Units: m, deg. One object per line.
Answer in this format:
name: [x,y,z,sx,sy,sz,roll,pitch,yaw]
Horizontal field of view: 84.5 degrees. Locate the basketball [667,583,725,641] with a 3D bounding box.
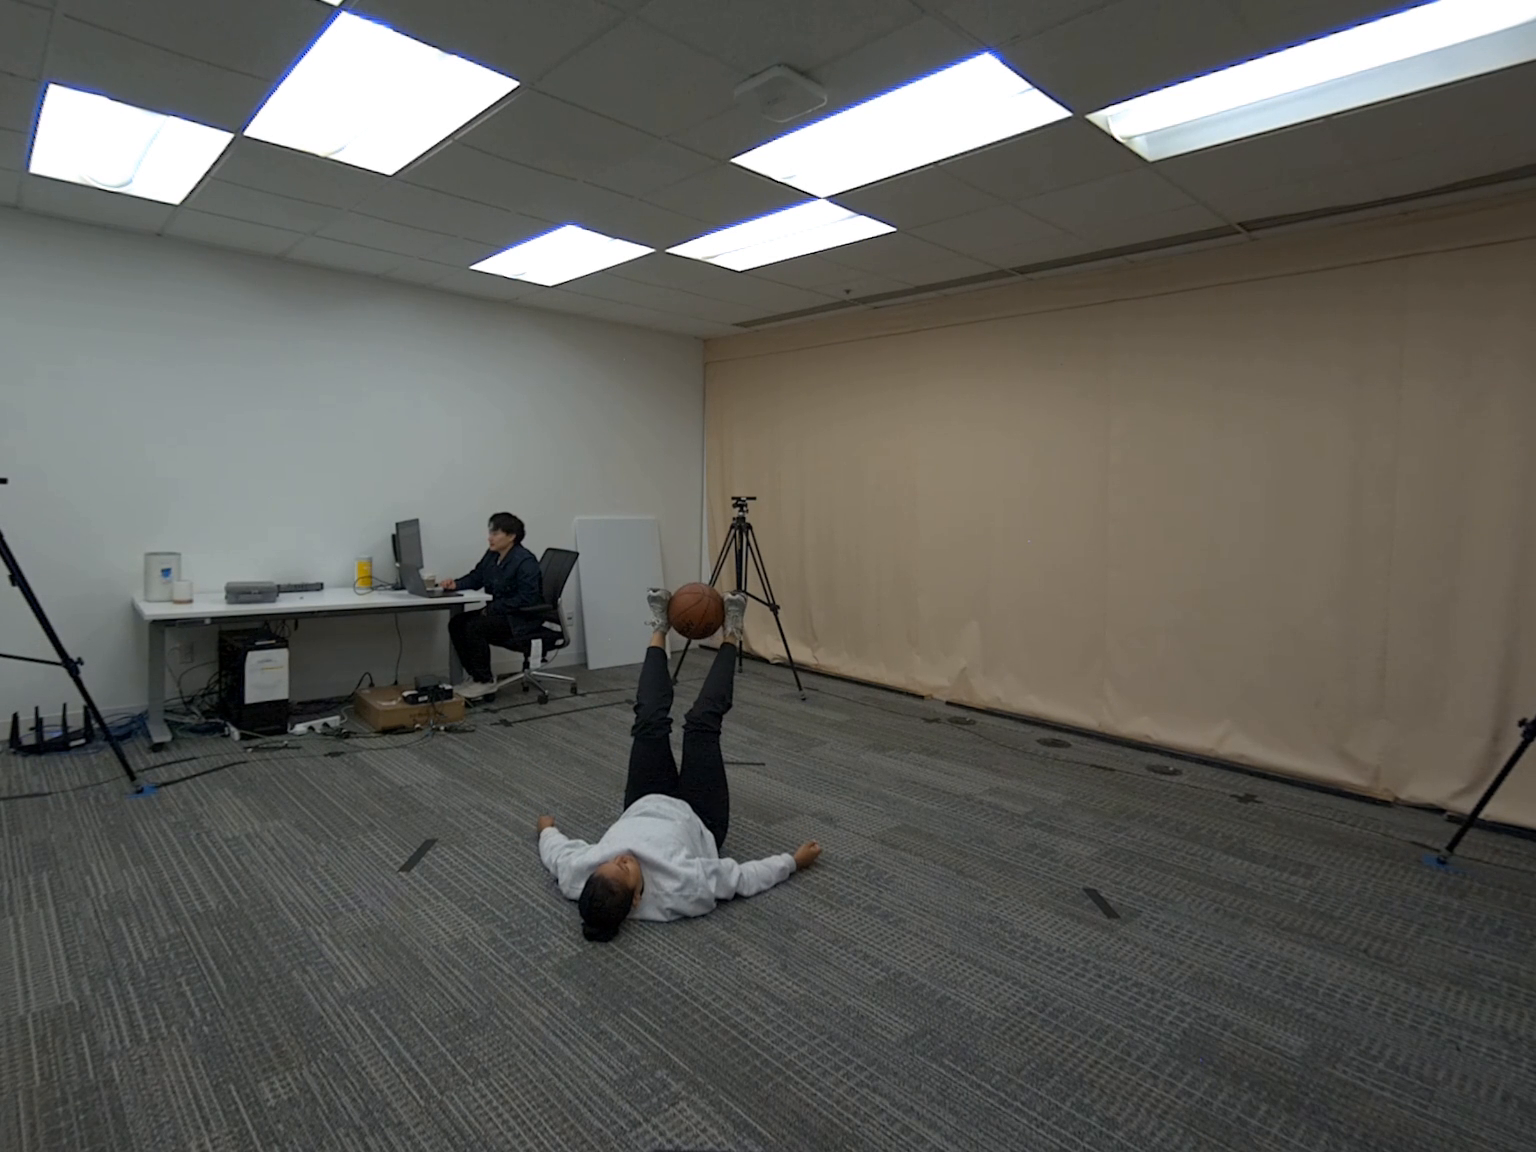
basketball: [-0.307,0.151,3.508,0.235,0.235,0.237,4,7,-2]
